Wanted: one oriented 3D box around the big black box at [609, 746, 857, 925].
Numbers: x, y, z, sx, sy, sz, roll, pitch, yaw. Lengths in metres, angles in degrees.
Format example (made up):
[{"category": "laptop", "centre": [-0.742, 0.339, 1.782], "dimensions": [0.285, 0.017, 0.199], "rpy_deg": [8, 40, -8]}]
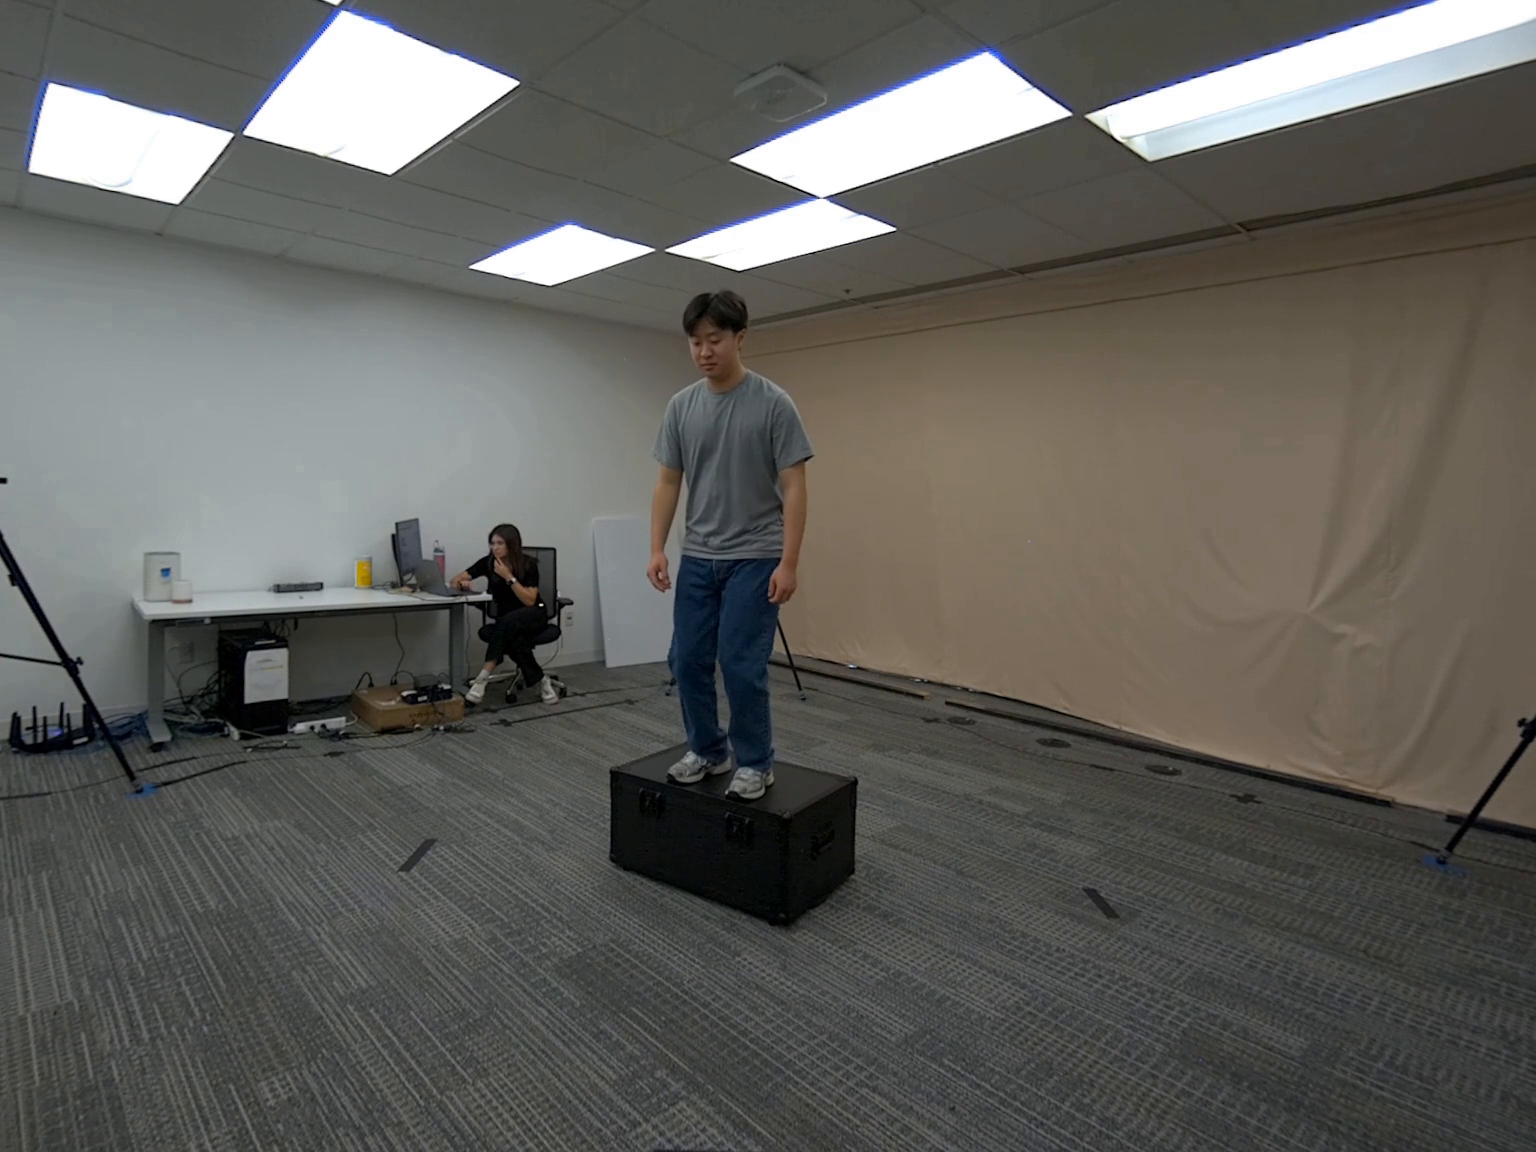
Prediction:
[{"category": "big black box", "centre": [-0.166, 0.911, 3.134], "dimensions": [0.882, 0.395, 0.510], "rpy_deg": [5, 6, 34]}]
